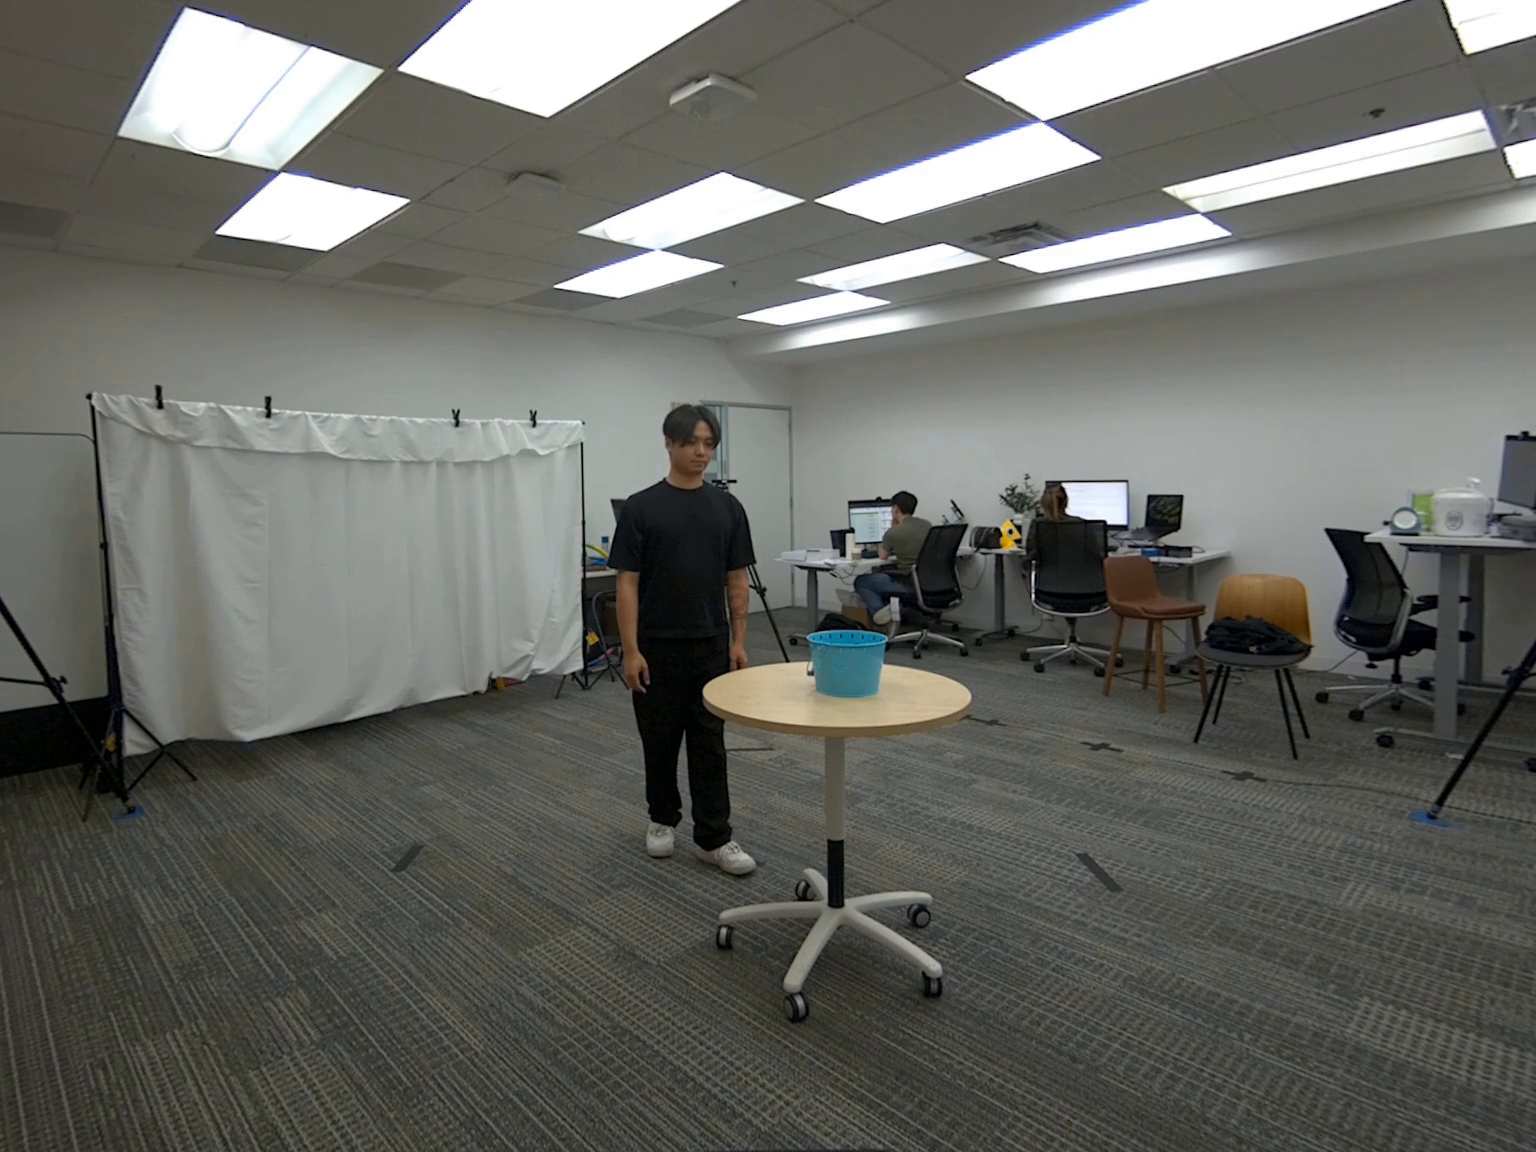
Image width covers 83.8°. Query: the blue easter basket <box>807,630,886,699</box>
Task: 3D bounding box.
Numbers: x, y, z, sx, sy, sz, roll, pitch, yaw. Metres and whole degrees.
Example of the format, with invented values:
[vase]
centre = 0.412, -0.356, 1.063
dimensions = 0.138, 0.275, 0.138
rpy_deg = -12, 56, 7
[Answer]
[blue easter basket]
centre = 0.239, 0.258, 2.472
dimensions = 0.243, 0.155, 0.245
rpy_deg = -1, 6, -2
